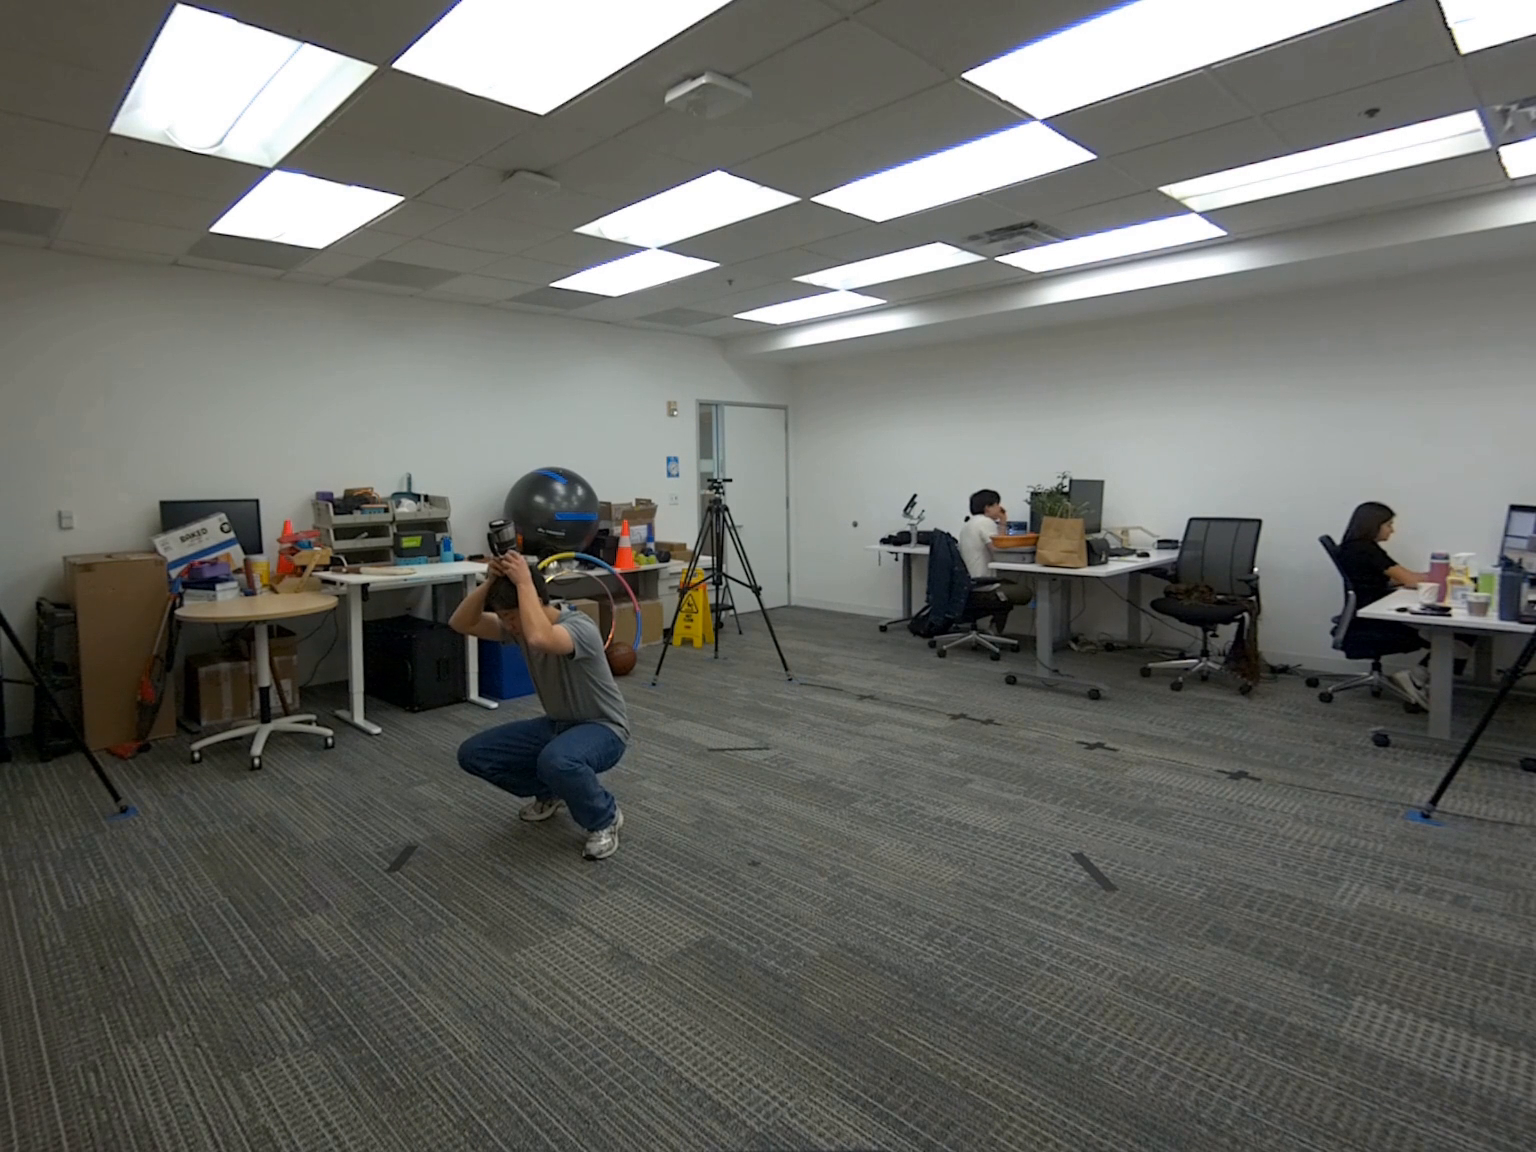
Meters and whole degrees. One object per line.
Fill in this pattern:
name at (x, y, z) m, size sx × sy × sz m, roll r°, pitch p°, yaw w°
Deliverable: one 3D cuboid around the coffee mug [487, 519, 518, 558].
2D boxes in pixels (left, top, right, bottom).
coffee mug at (-0.981, -0.099, 3.147) m, size 0.090 × 0.200 × 0.120 m, roll 6°, pitch 18°, yaw 37°
